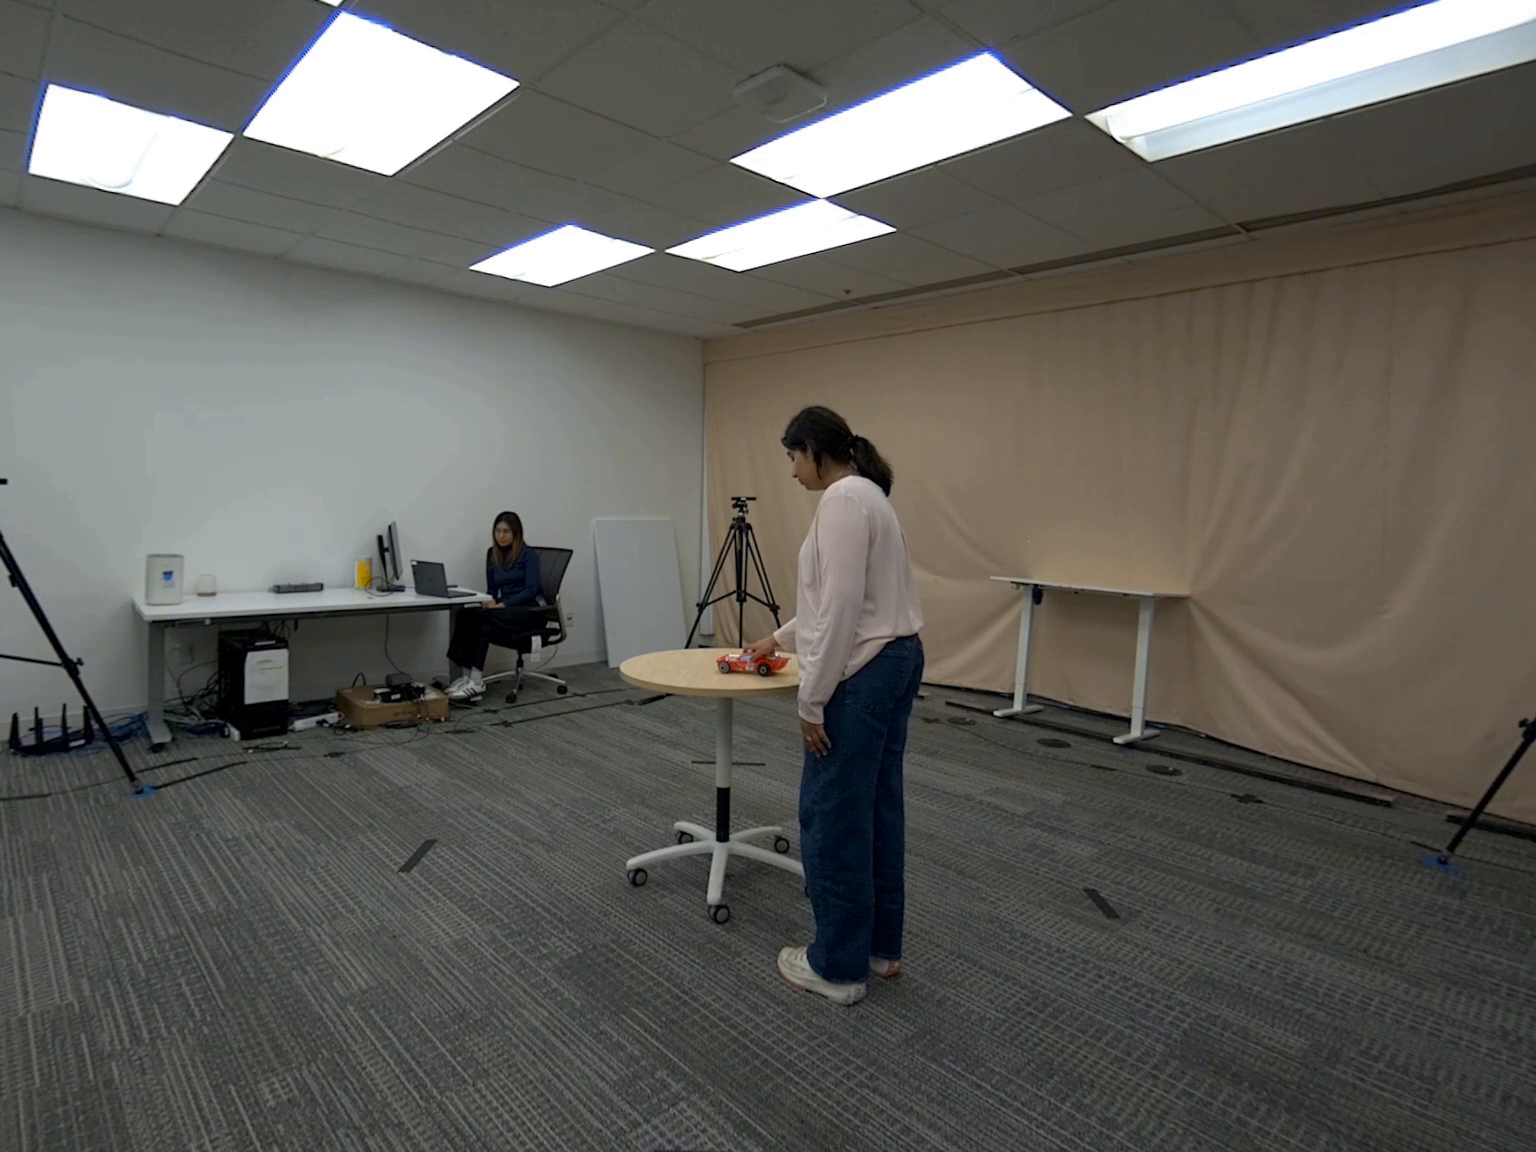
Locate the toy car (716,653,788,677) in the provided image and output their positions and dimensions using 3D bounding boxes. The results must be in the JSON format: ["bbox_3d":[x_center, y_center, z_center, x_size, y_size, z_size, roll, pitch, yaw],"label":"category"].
[{"bbox_3d":[-0.050,0.308,2.934,0.257,0.083,0.129,-9,1,17],"label":"toy car"}]
